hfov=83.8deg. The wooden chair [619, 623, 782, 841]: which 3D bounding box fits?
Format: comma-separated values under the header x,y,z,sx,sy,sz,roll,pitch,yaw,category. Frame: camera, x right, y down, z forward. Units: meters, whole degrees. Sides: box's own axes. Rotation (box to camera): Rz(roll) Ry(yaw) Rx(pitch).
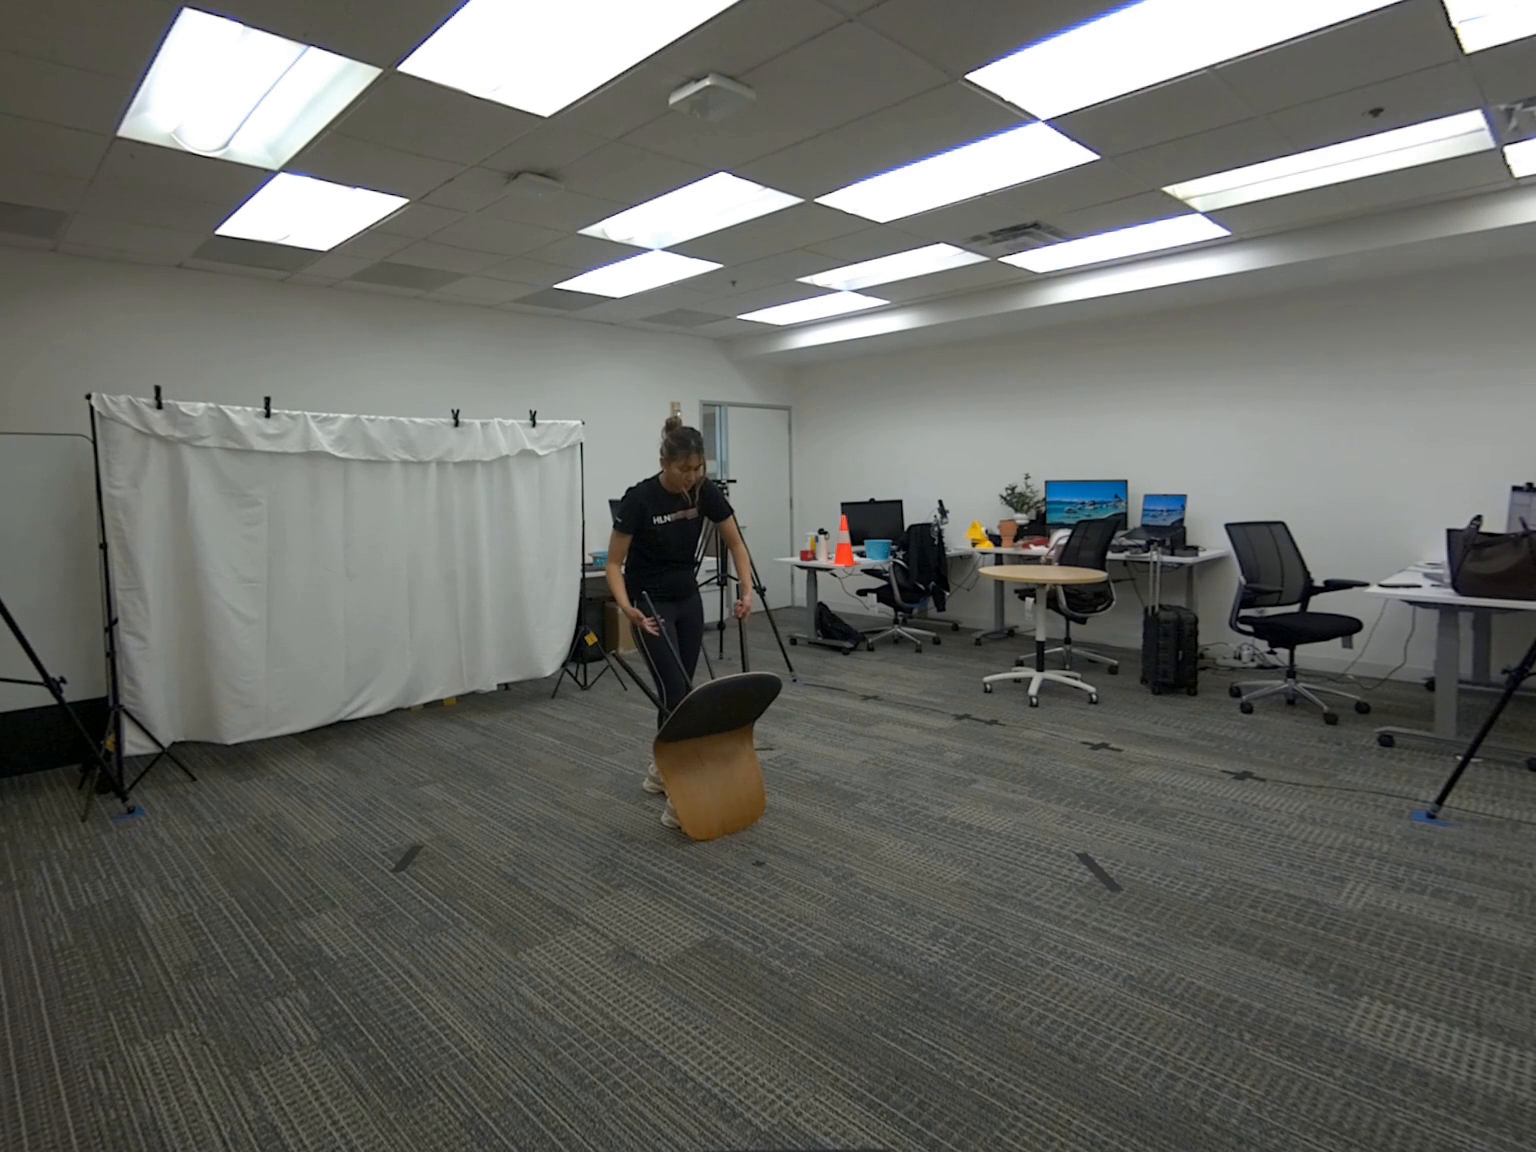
x,y,z,sx,sy,sz,roll,pitch,yaw,category
-0.221,0.522,3.371,0.467,0.903,0.520,-4,-32,-31,wooden chair
